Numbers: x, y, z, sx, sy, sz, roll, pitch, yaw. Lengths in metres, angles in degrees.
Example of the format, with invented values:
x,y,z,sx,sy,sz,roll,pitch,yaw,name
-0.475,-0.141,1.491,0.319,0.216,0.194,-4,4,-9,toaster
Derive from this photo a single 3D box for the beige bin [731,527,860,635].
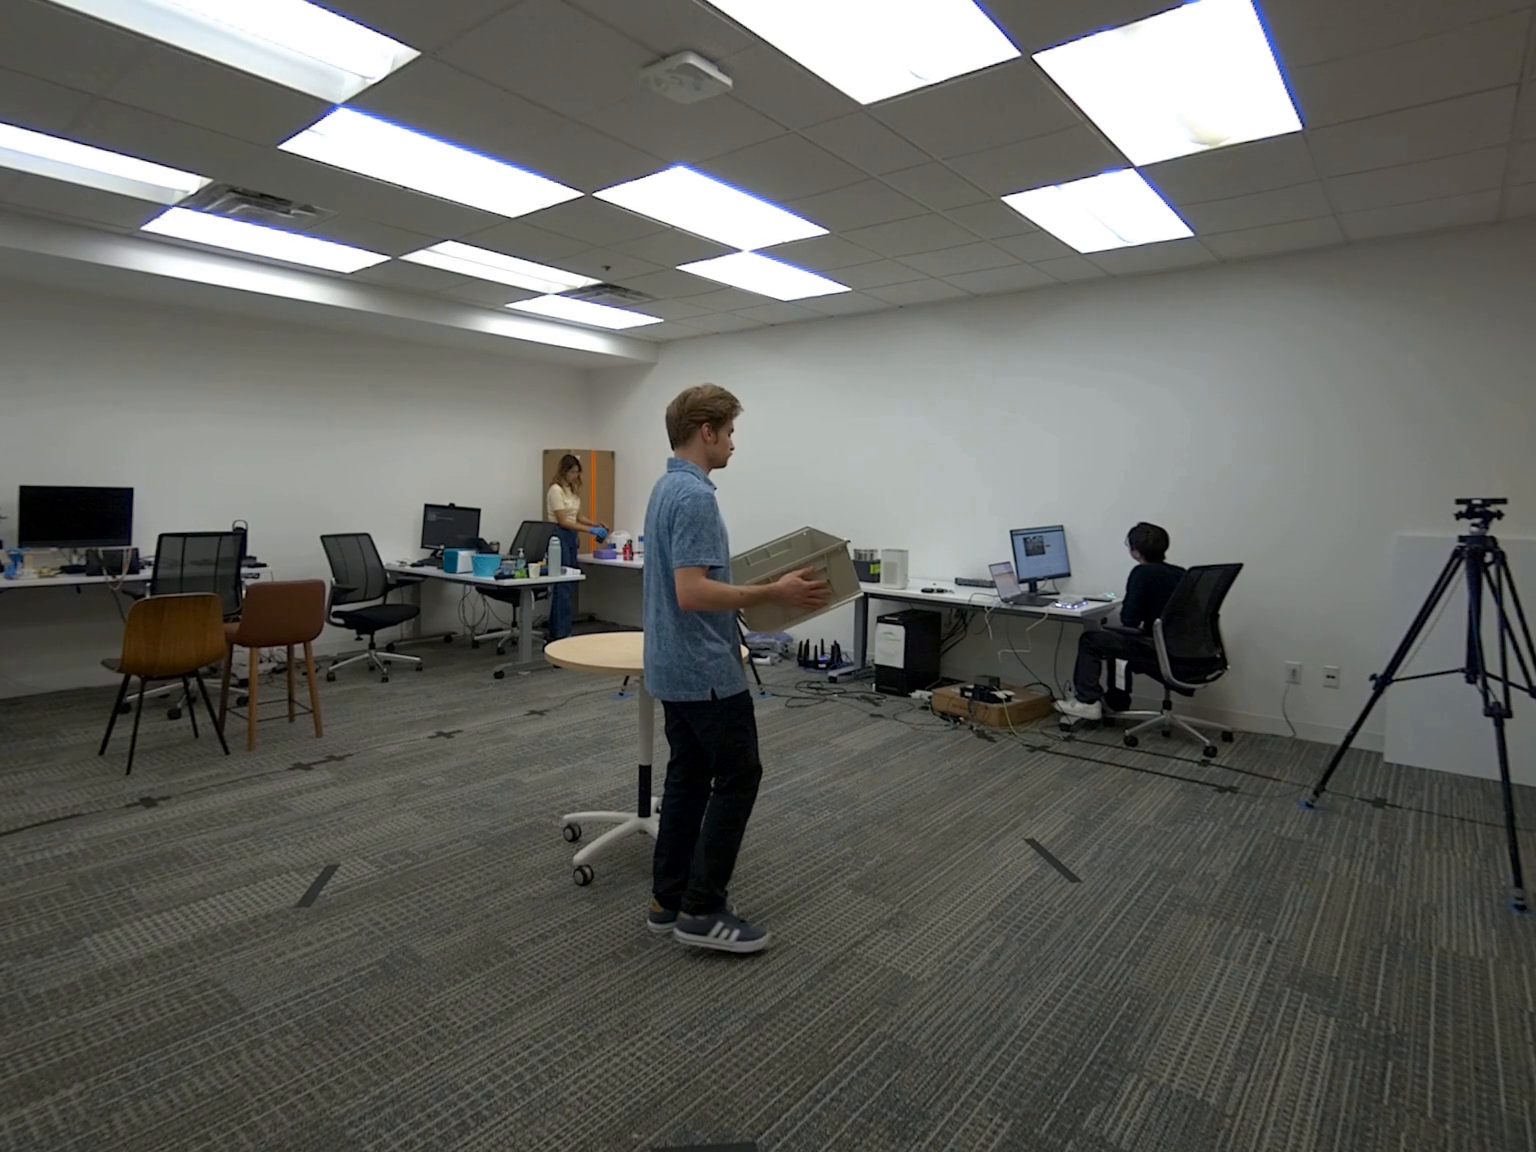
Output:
x,y,z,sx,sy,sz,roll,pitch,yaw,name
0.041,0.012,2.706,0.375,0.186,0.430,-22,13,-8,beige bin
